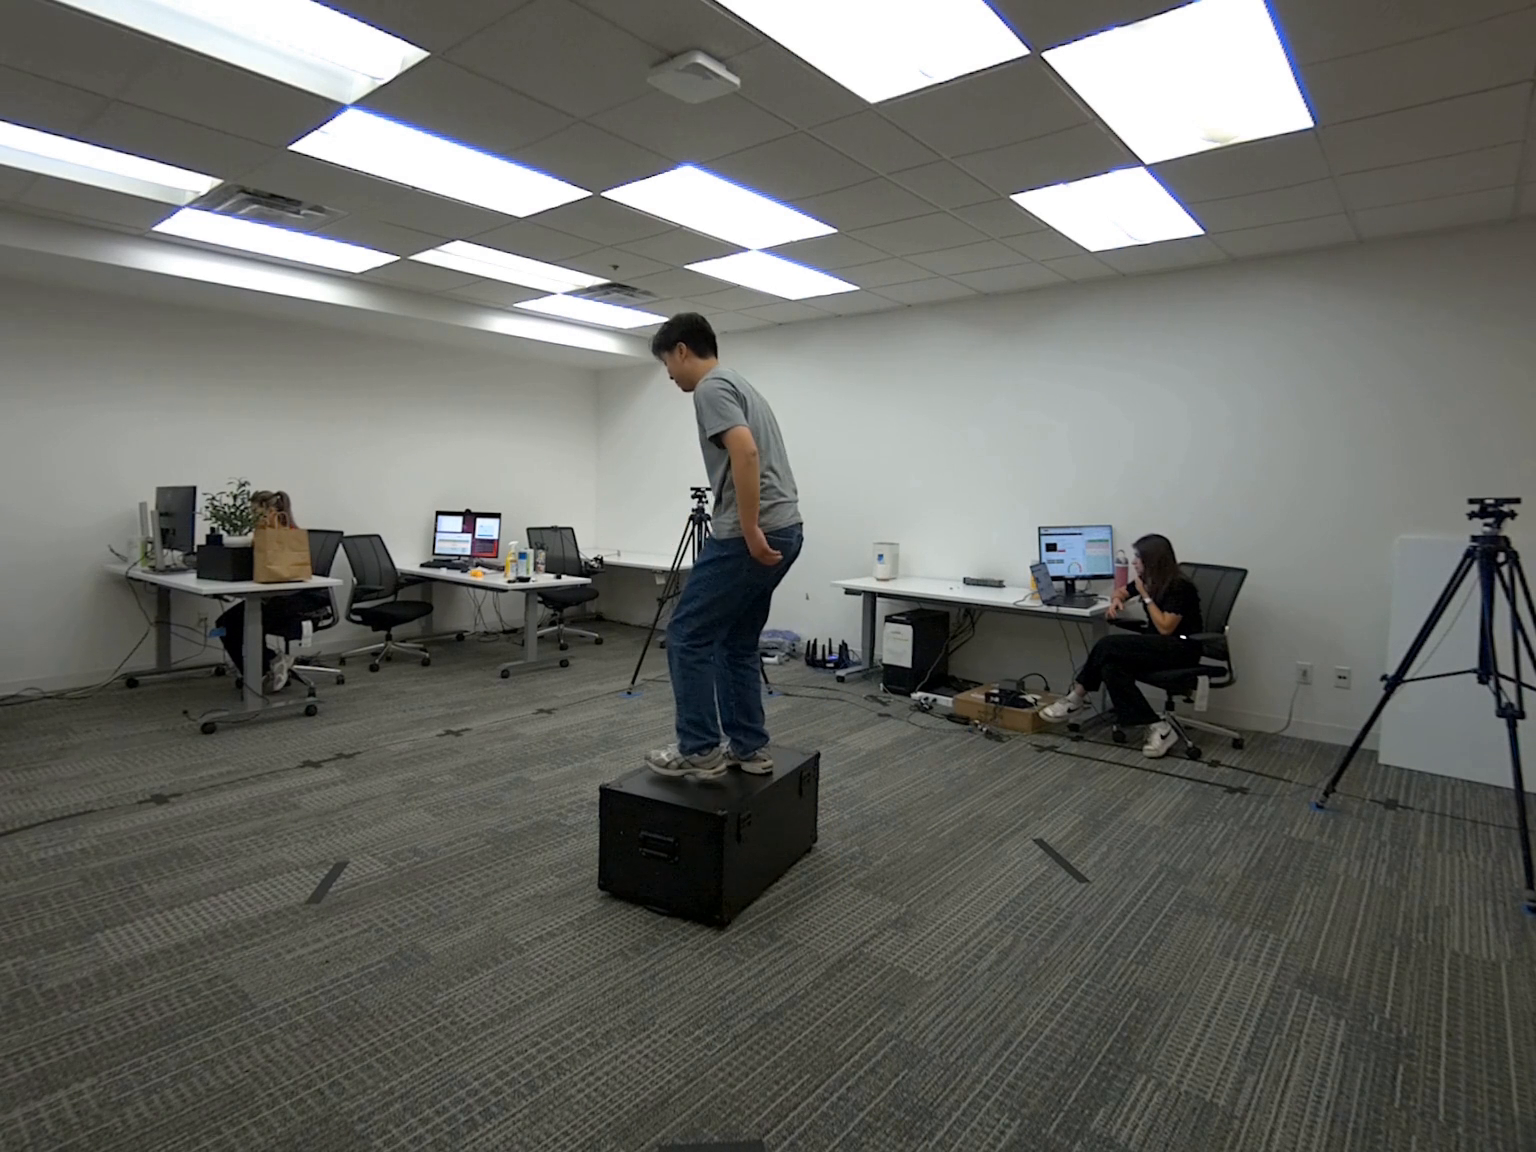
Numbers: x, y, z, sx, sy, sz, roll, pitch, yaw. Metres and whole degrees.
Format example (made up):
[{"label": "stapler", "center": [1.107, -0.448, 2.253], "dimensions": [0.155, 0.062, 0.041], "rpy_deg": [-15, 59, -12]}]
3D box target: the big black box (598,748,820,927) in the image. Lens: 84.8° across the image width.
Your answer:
[{"label": "big black box", "center": [-0.179, 0.875, 3.115], "dimensions": [0.535, 0.395, 0.841], "rpy_deg": [3, 6, 27]}]
